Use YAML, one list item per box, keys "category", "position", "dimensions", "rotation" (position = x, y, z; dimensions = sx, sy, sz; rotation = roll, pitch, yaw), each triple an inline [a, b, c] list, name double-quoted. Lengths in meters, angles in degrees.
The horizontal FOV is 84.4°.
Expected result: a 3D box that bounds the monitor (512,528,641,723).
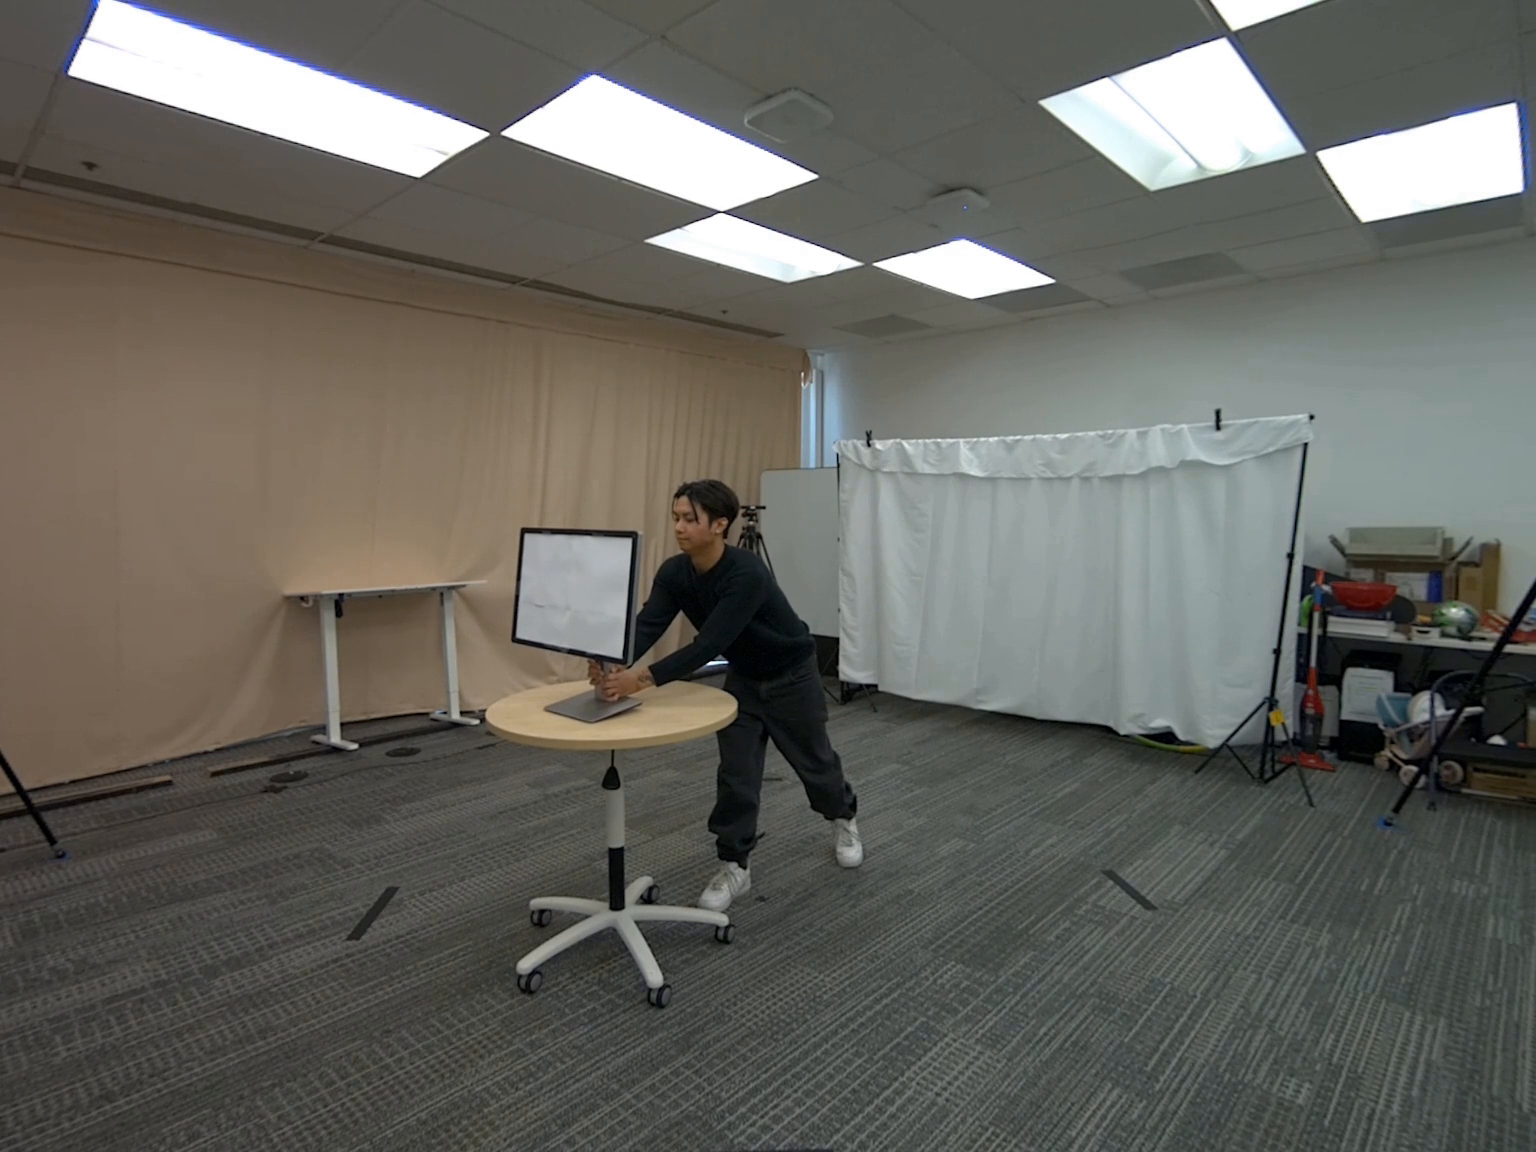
- category: "monitor"
  position: [-0.542, 0.133, 2.497]
  dimensions: [0.557, 0.520, 0.182]
  rotation: [3, 10, 39]
